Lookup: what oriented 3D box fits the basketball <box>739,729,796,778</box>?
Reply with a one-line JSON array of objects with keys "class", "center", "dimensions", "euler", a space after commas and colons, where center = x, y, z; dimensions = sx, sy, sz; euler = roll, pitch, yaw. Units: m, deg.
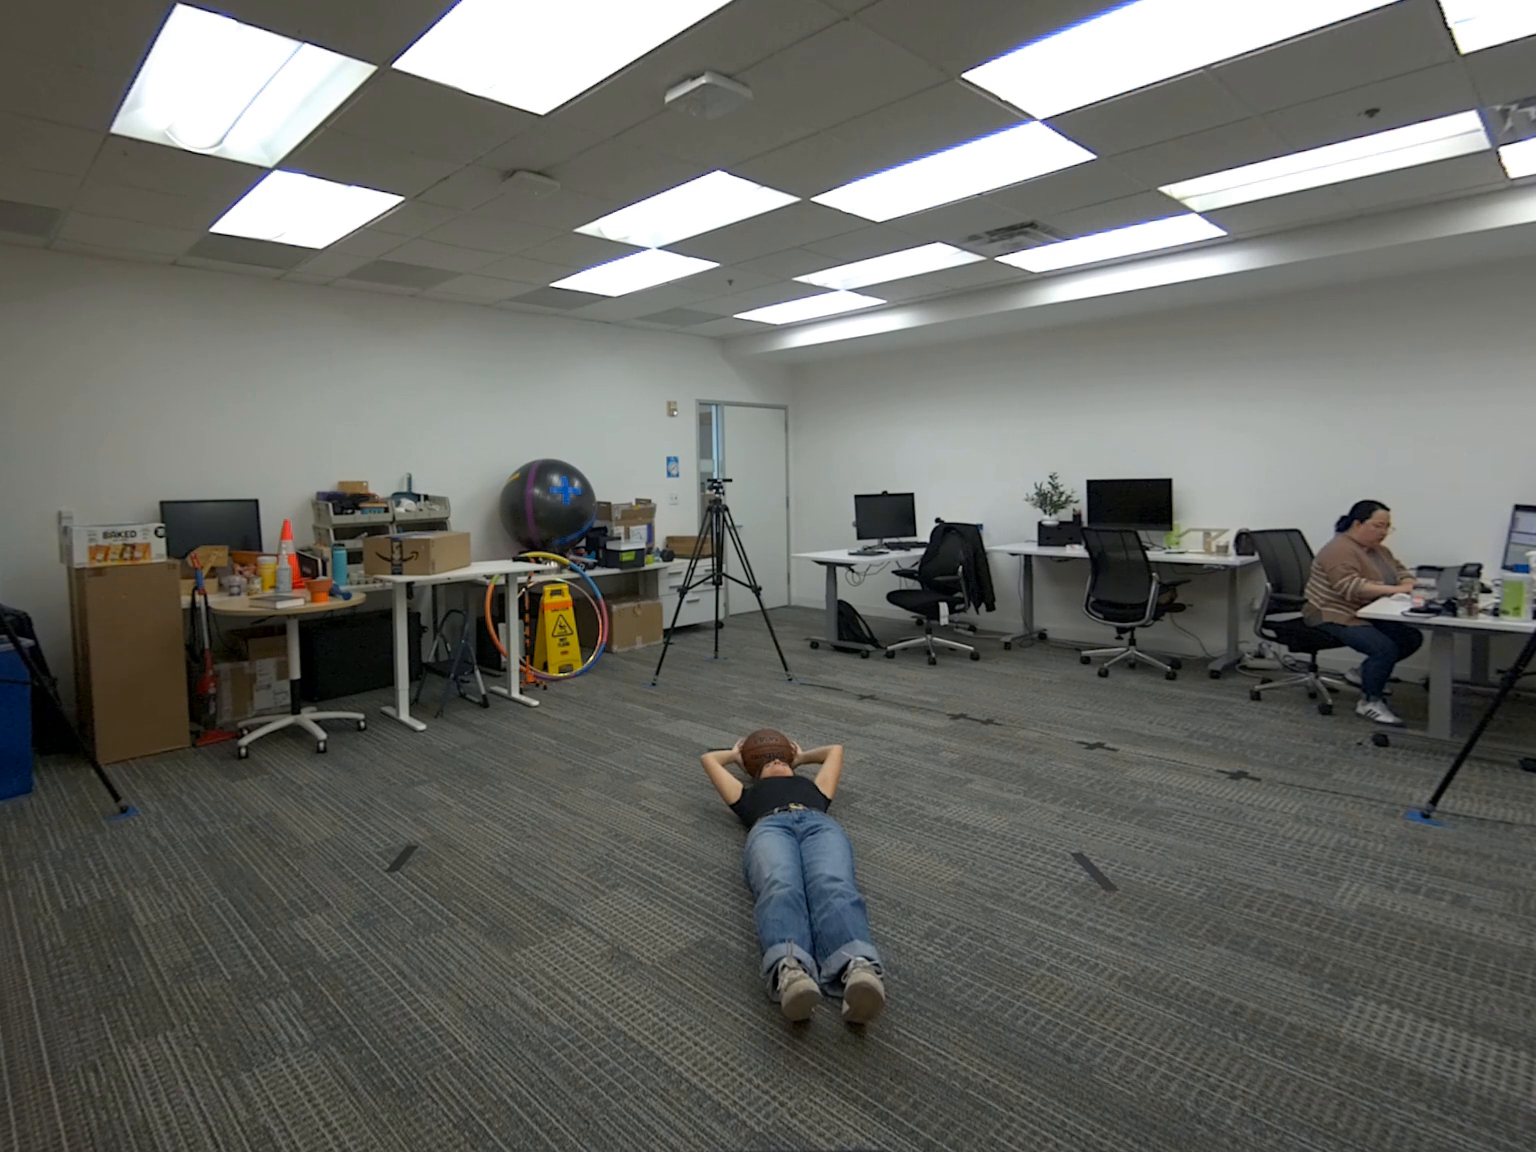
[{"class": "basketball", "center": [-0.009, 0.828, 3.958], "dimensions": [0.236, 0.235, 0.237], "euler": [-1, 5, -2]}]
